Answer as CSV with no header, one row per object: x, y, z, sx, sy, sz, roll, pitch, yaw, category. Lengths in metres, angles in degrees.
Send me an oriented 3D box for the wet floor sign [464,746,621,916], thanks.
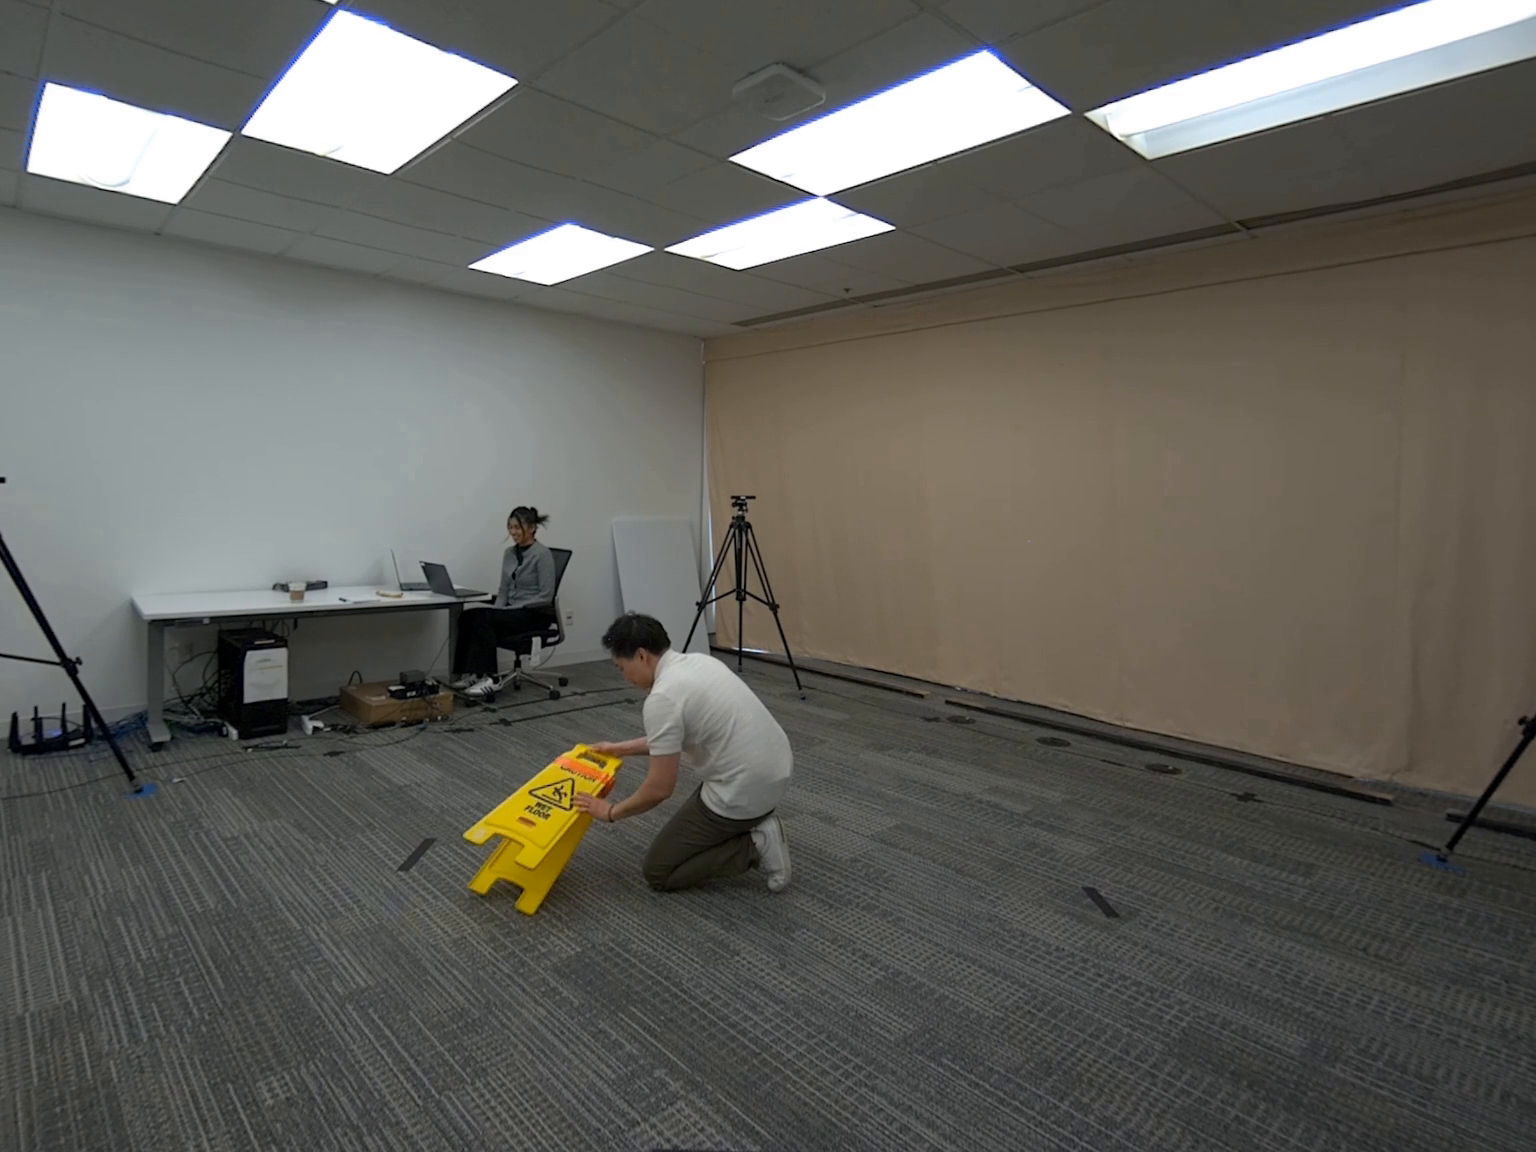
-0.771,0.837,3.015,0.287,0.284,0.646,15,33,18,wet floor sign
